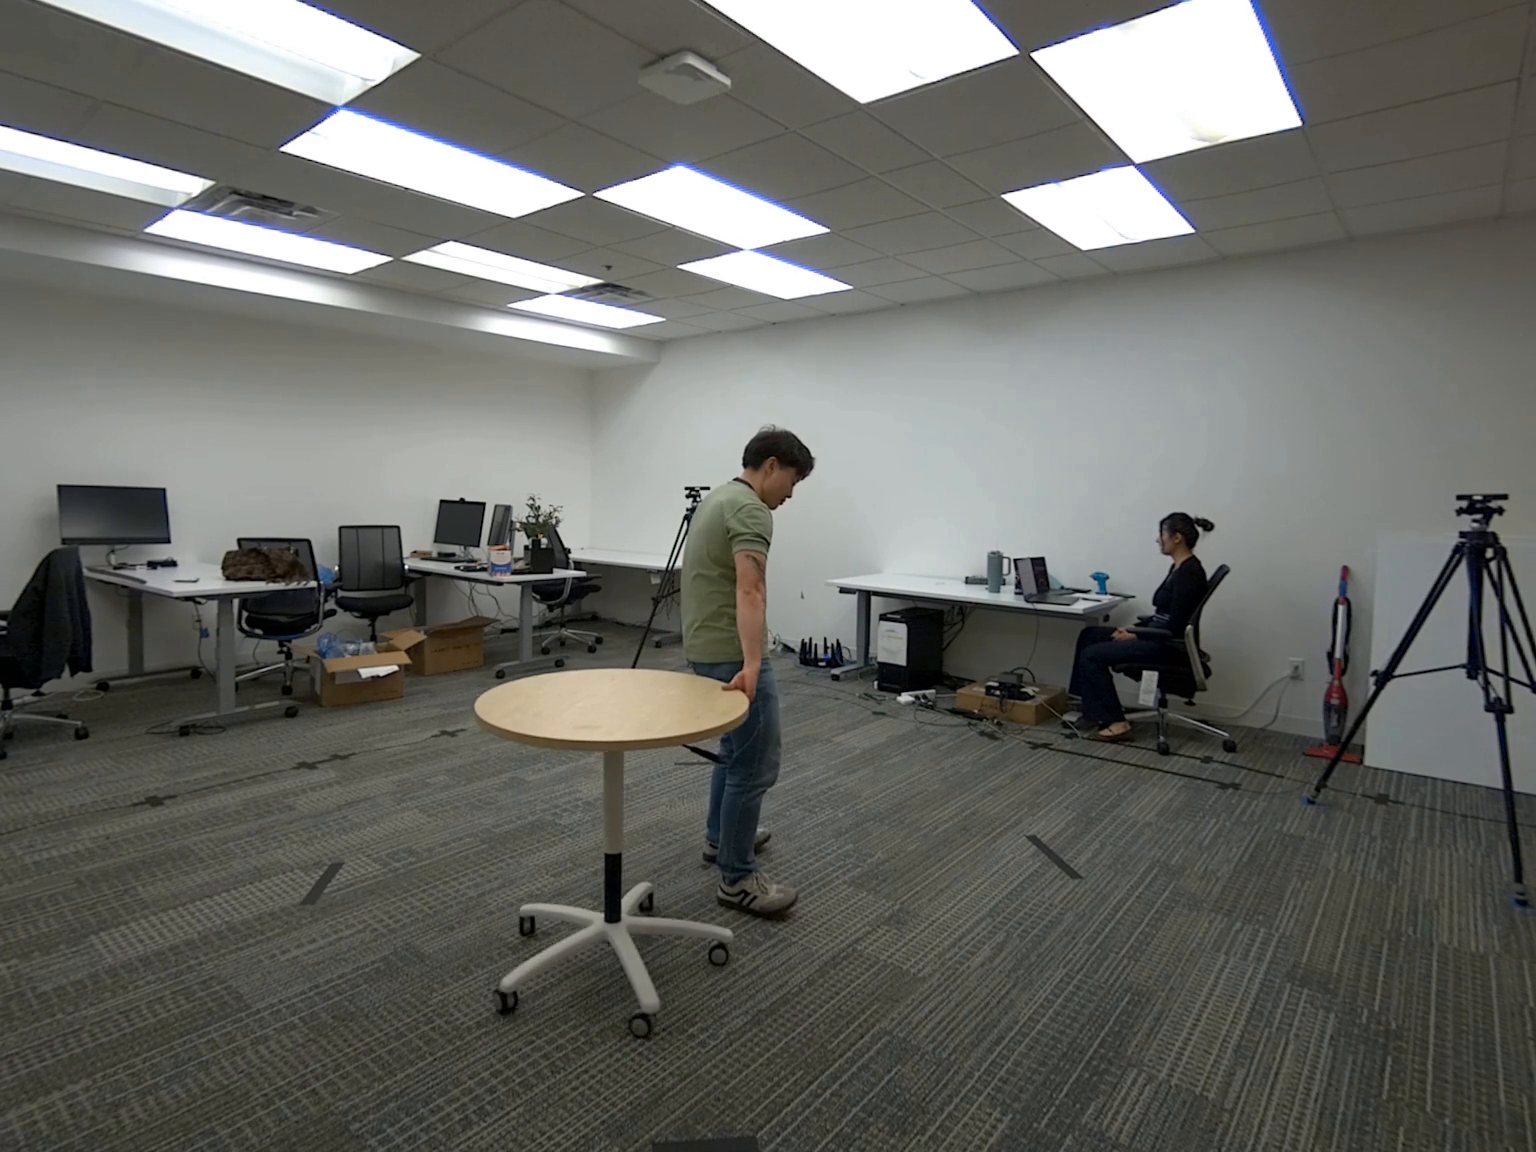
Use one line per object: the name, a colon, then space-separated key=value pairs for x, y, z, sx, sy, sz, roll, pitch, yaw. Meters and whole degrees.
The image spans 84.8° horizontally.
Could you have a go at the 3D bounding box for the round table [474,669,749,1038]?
round table: x=-0.448 y=0.738 z=2.446 sx=0.763 sy=0.791 sz=0.768 roll=1 pitch=5 yaw=-2
